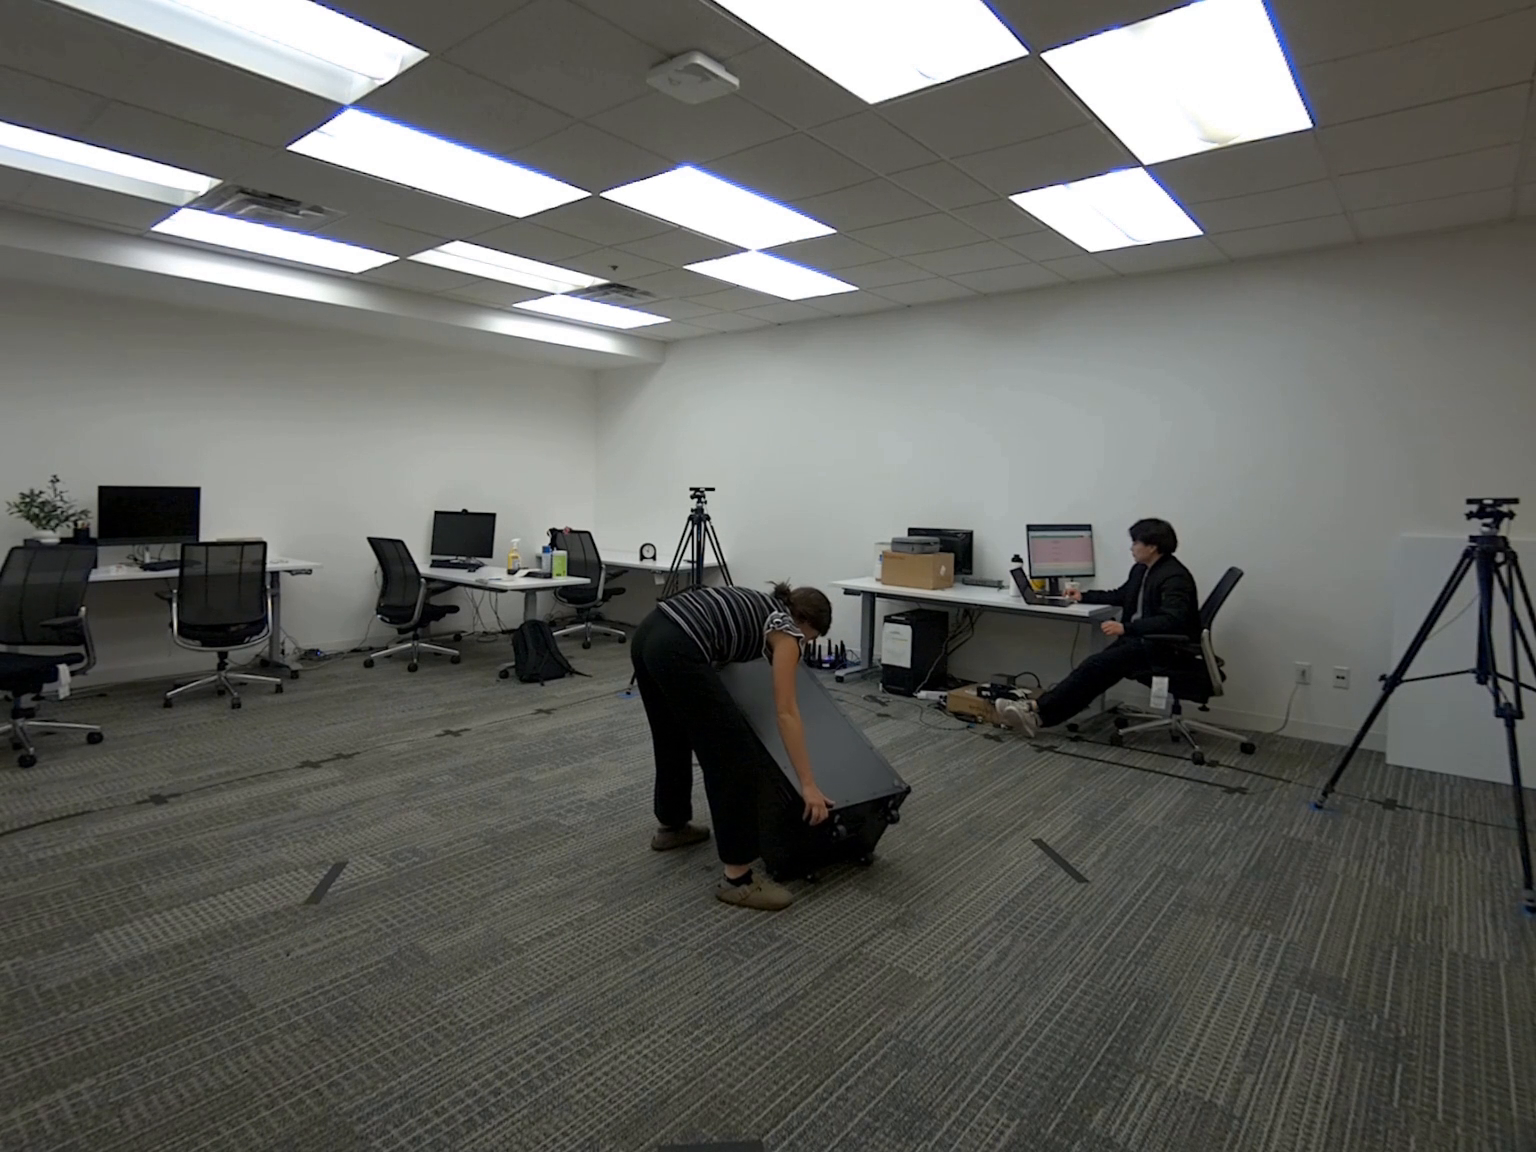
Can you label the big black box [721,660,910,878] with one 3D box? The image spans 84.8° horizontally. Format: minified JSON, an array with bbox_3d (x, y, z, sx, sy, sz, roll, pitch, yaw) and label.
[{"bbox_3d":[0.085,0.730,3.321,0.506,0.391,0.899,-3,36,-36],"label":"big black box"}]
